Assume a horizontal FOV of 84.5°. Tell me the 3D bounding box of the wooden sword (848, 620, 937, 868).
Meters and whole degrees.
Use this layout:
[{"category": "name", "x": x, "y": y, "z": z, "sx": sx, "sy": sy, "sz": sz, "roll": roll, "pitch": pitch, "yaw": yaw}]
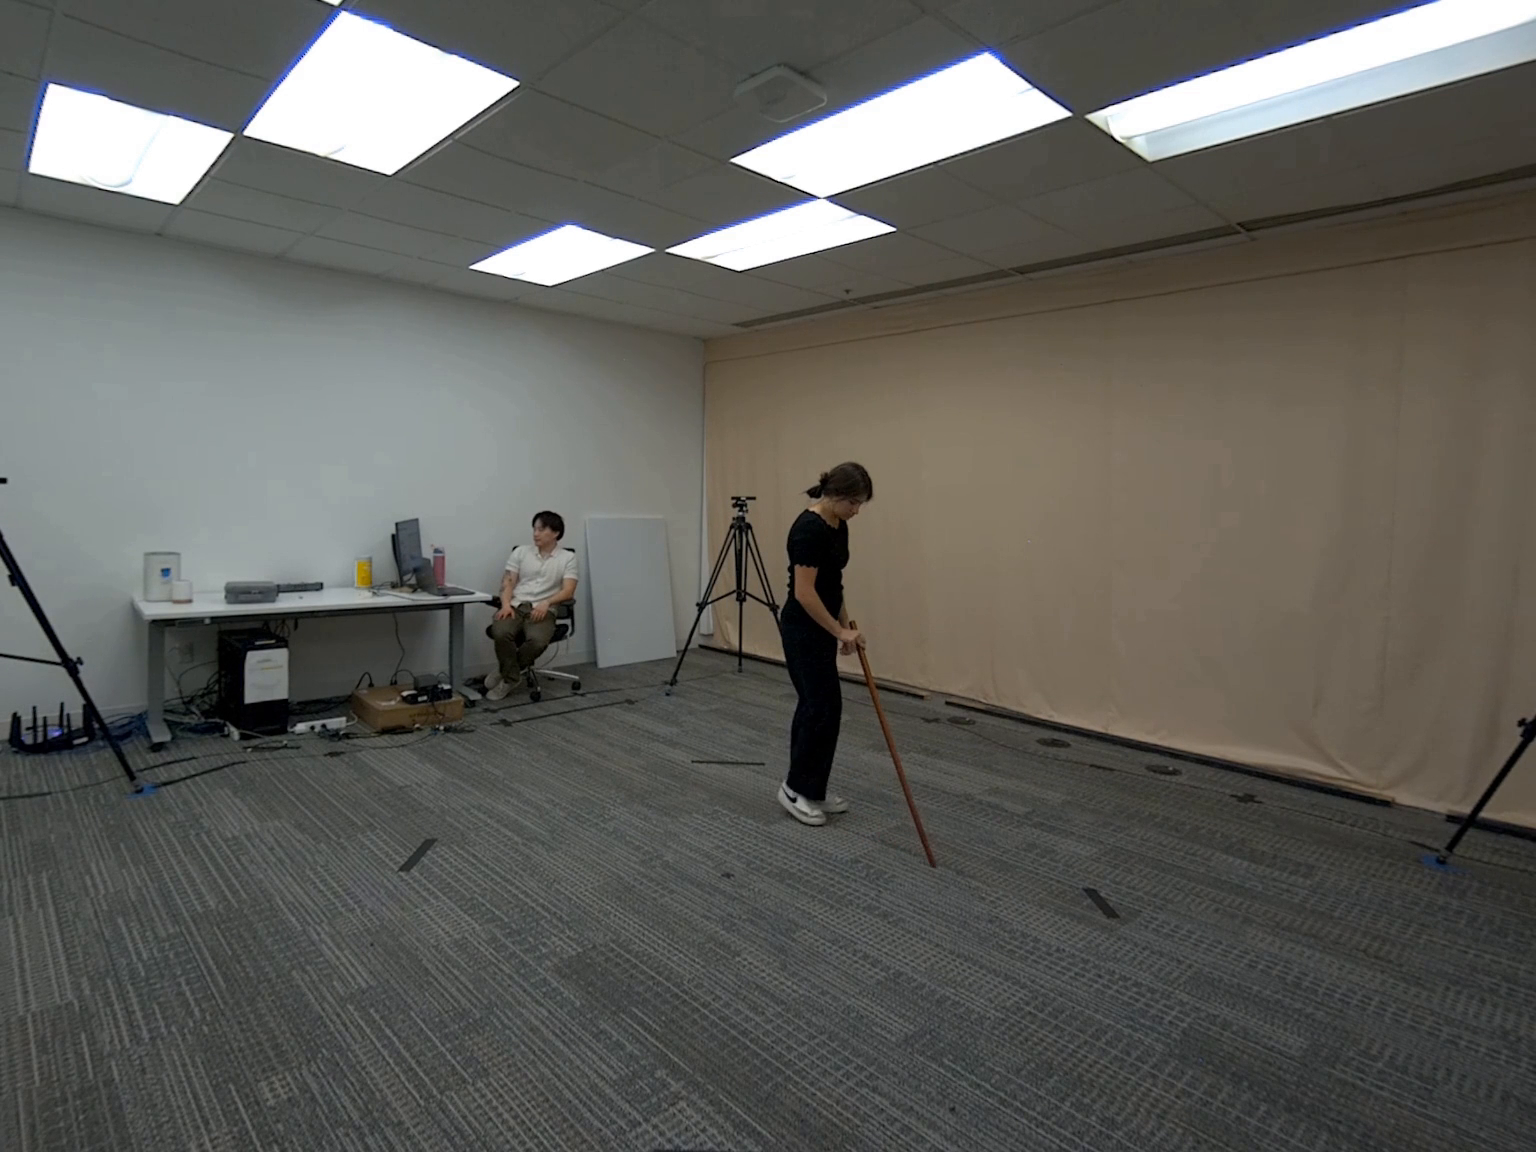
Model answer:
[{"category": "wooden sword", "x": 0.500, "y": 0.683, "z": 3.430, "sx": 0.023, "sy": 1.047, "sz": 0.051, "roll": 3, "pitch": -31, "yaw": -35}]
